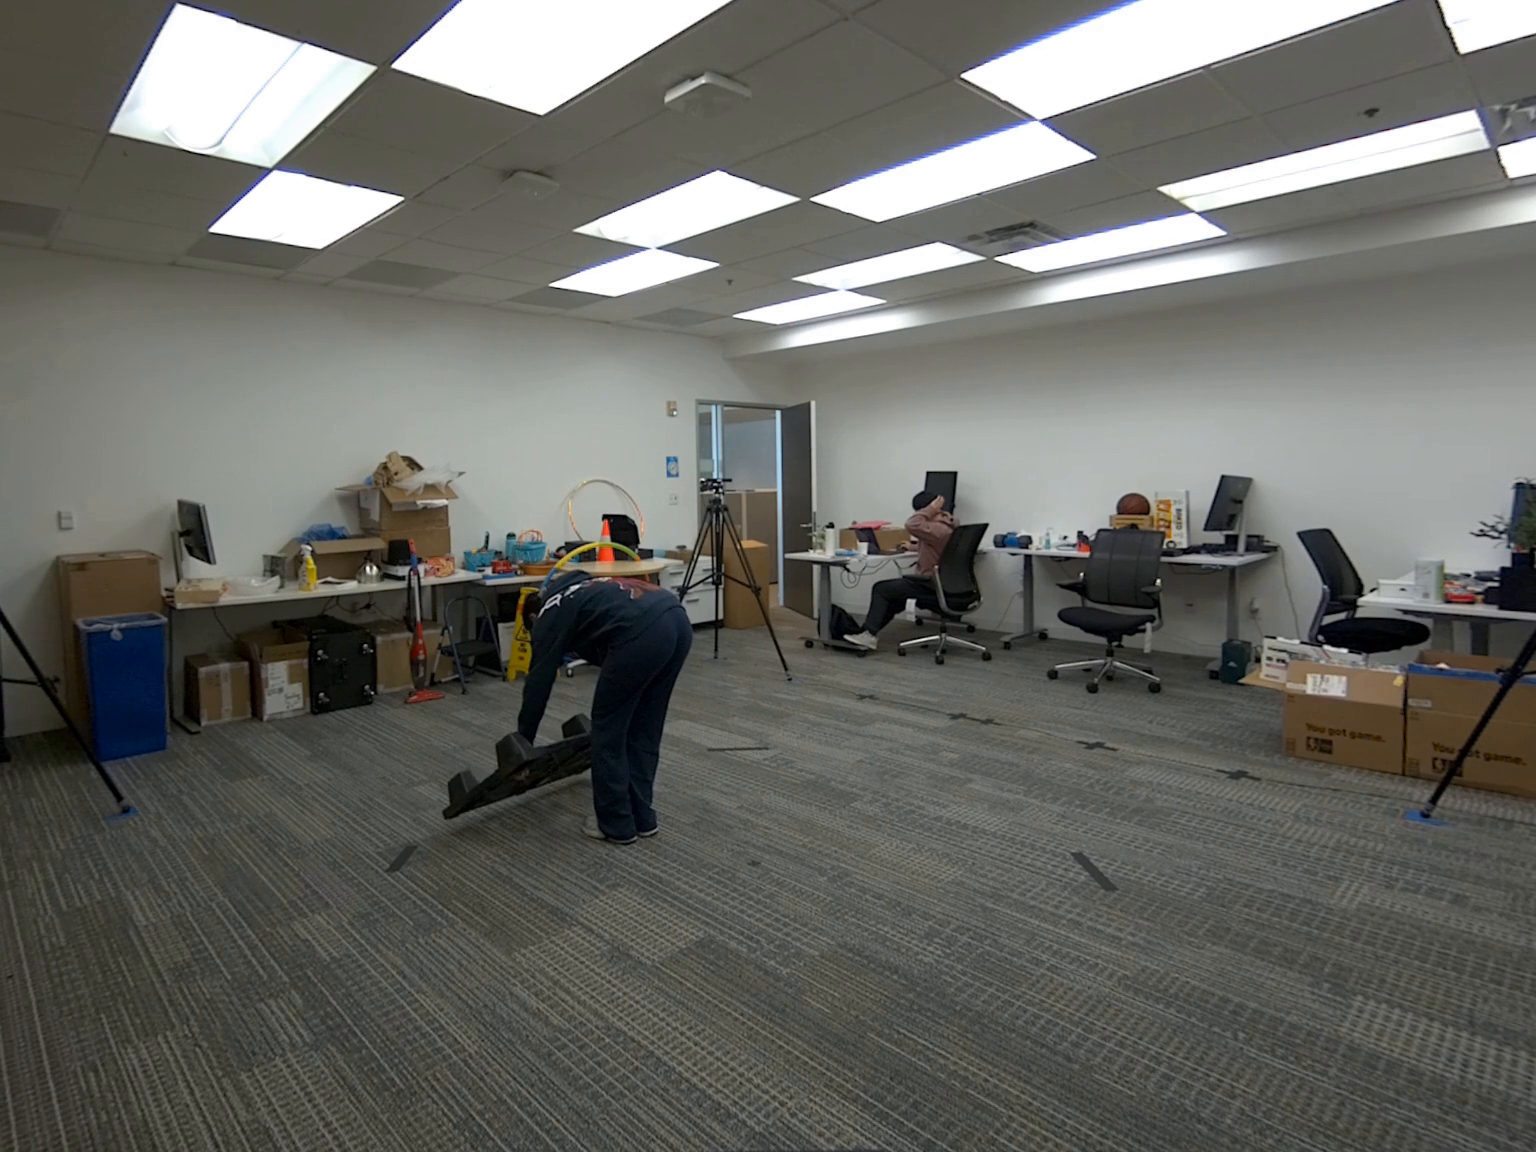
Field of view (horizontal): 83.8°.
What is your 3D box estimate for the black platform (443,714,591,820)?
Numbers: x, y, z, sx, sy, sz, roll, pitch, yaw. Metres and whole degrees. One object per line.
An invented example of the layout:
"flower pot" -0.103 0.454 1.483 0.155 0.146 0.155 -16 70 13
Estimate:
"black platform" -0.909 0.750 3.607 0.608 0.146 0.785 -38 -17 30
